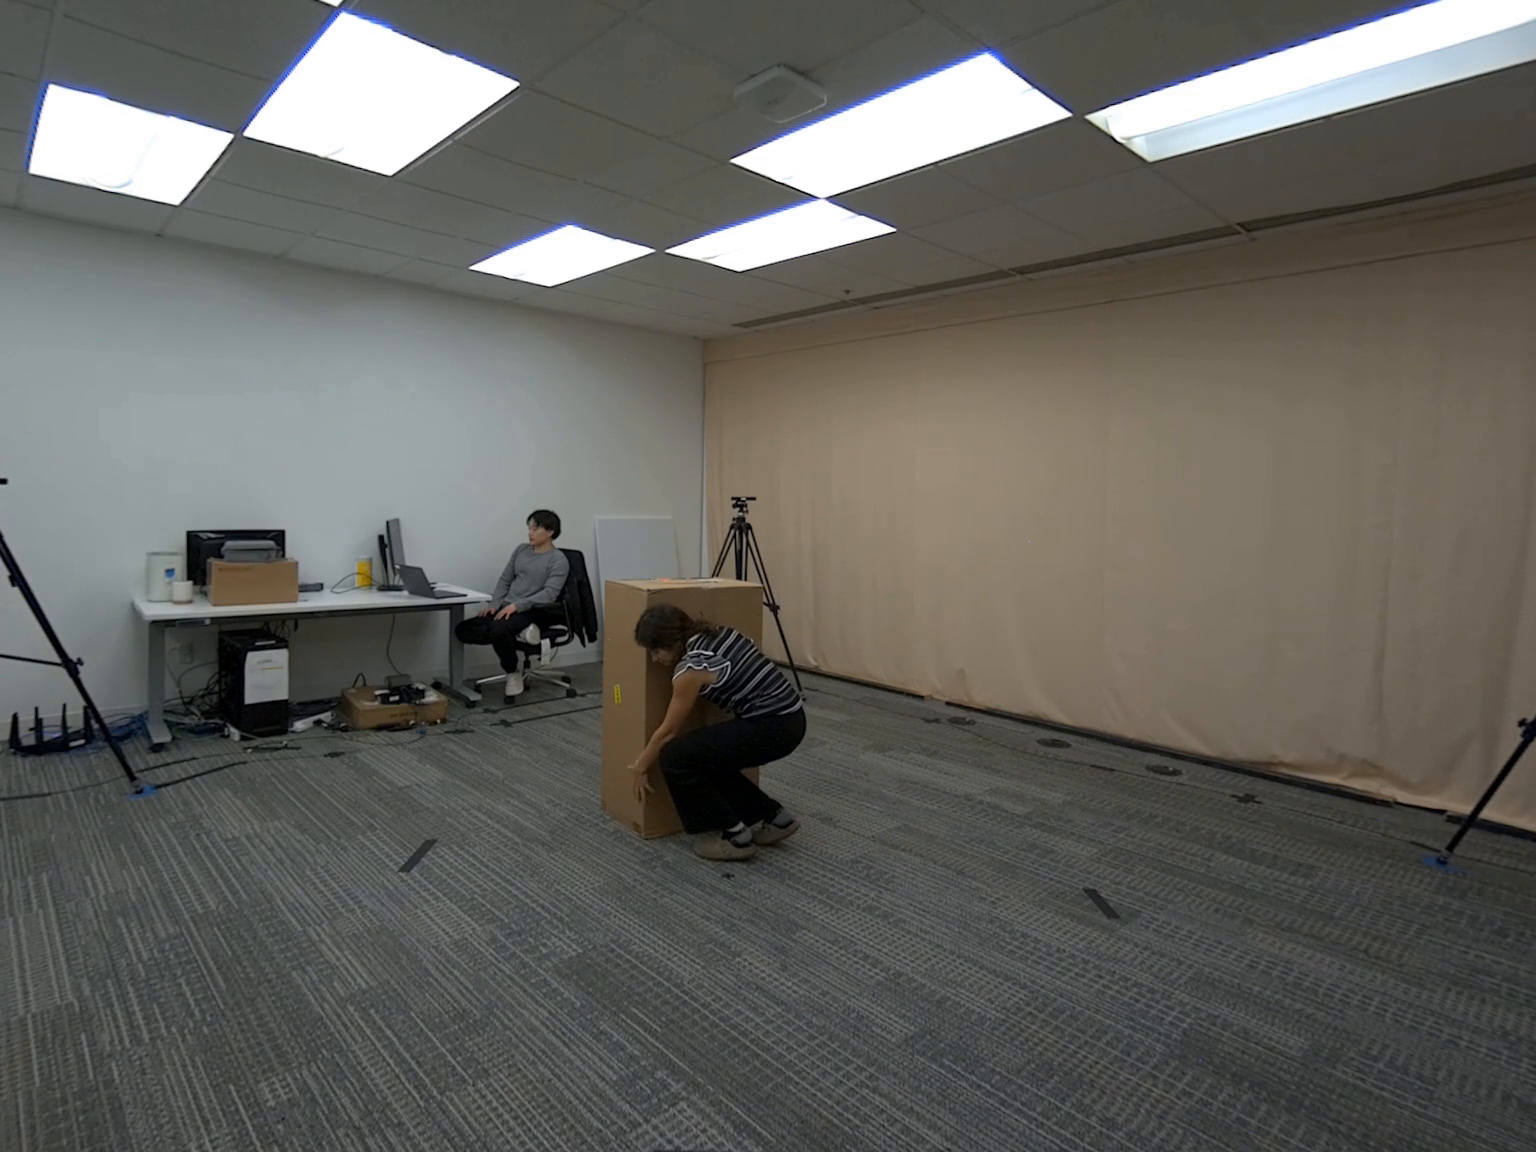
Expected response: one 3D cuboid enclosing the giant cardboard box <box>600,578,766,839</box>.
[{"bbox_3d":[-0.391,0.538,3.721,0.565,1.024,0.436,0,3,-34],"label":"giant cardboard box"}]
